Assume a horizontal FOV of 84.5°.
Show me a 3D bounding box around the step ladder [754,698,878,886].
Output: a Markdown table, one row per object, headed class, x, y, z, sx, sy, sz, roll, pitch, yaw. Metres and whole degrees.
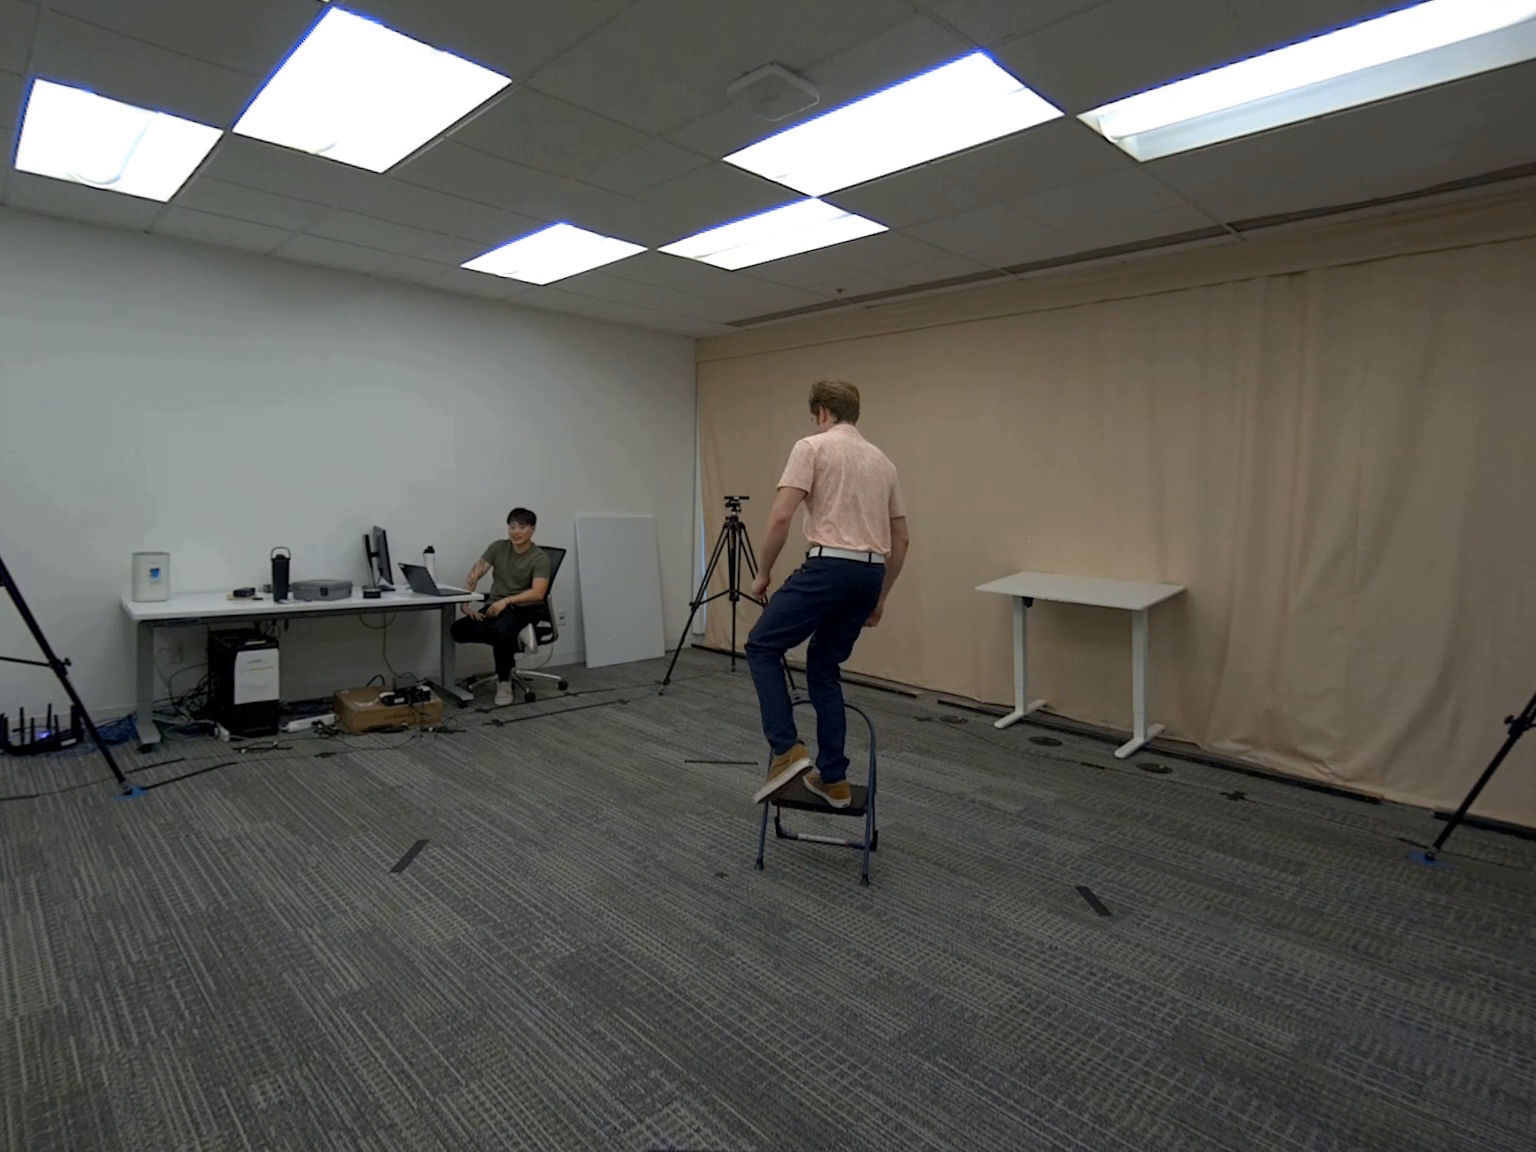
| class | x | y | z | sx | sy | sz | roll | pitch | yaw |
| --- | --- | --- | --- | --- | --- | --- | --- | --- | --- |
| step ladder | 0.202 | 0.800 | 3.255 | 0.436 | 0.605 | 0.346 | 2 | 3 | 15 |
